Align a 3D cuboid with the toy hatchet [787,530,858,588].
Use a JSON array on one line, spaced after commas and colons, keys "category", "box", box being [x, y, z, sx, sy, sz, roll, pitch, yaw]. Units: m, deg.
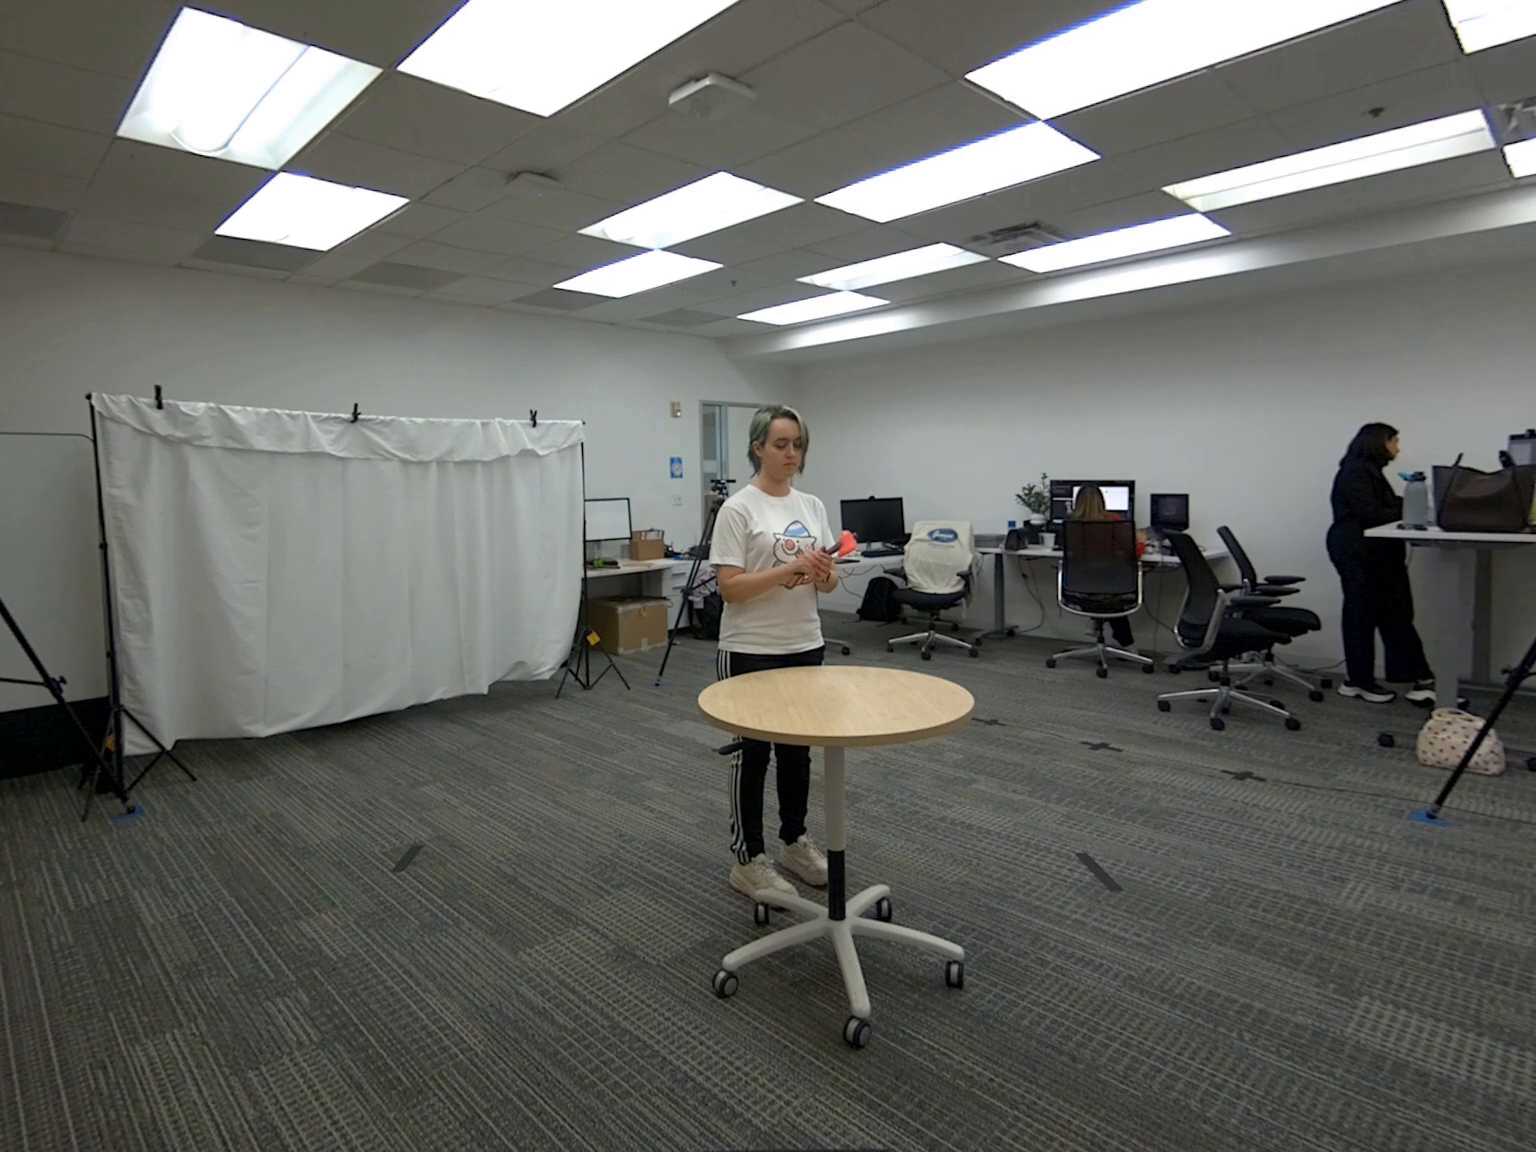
[{"category": "toy hatchet", "box": [0.175, -0.041, 2.640, 0.270, 0.029, 0.135, -44, 26, -9]}]
